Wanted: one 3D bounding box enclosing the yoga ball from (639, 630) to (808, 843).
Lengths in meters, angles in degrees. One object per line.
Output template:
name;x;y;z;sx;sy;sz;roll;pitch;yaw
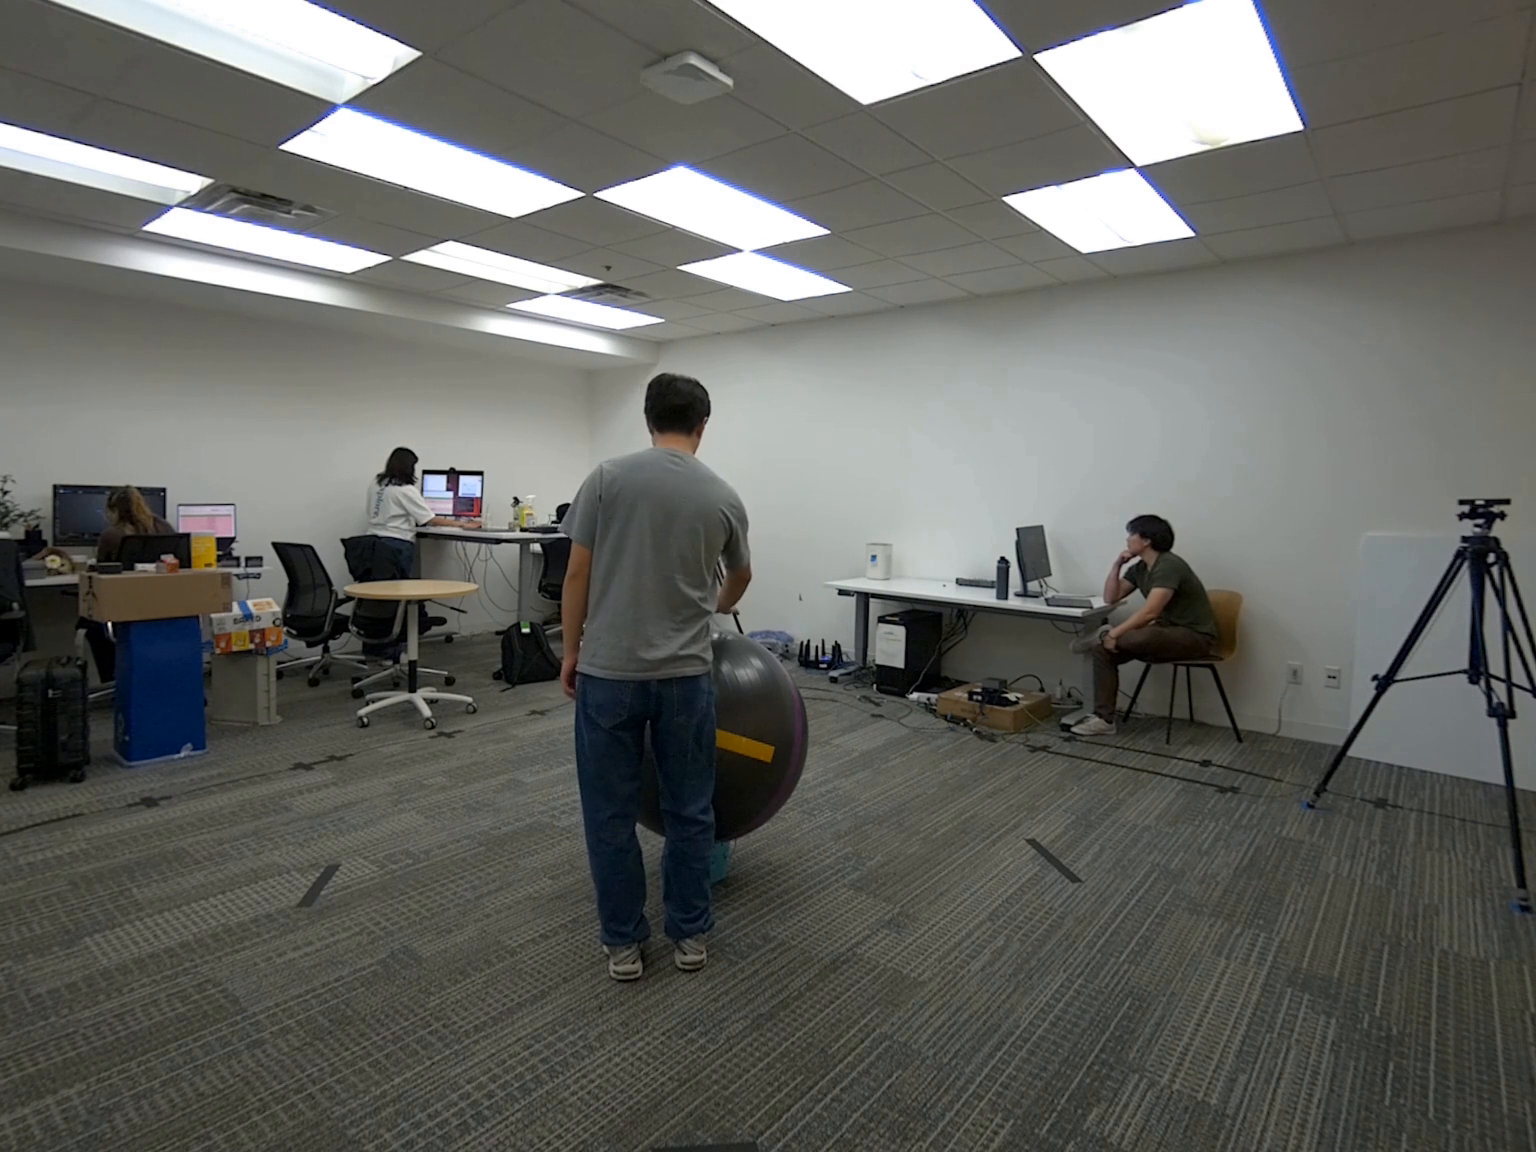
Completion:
yoga ball;-0.246;0.559;3.064;0.757;0.755;0.762;1;4;-2
